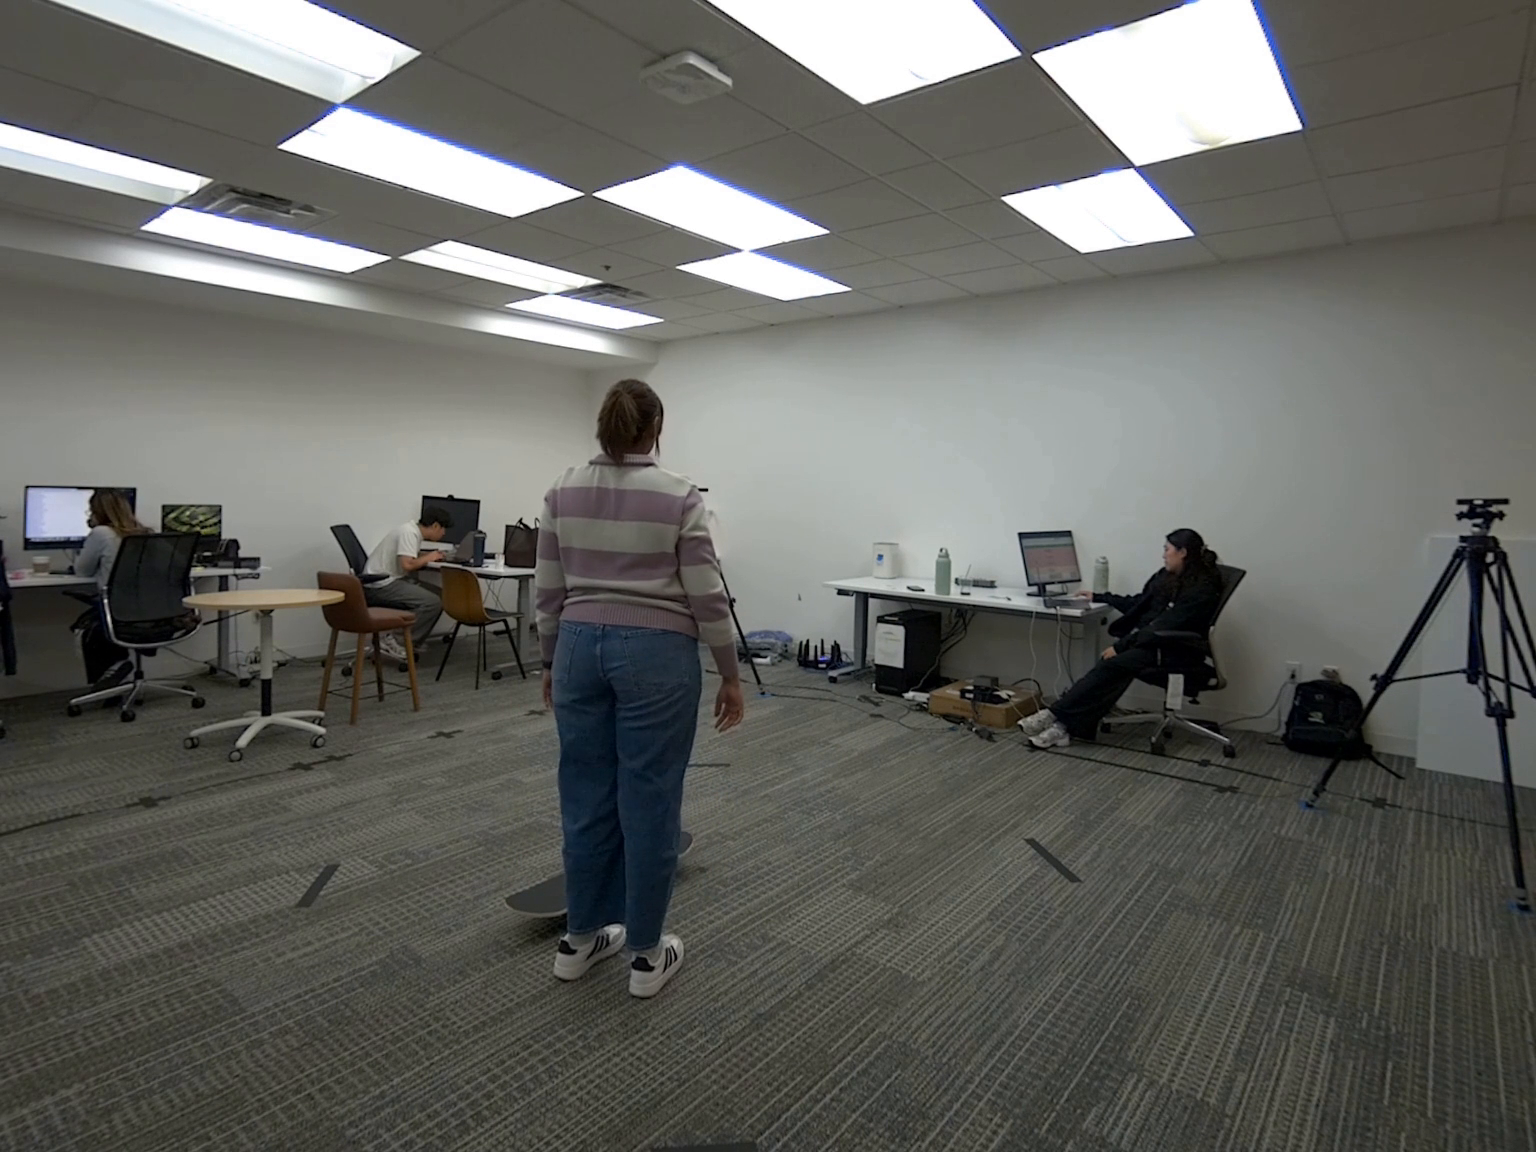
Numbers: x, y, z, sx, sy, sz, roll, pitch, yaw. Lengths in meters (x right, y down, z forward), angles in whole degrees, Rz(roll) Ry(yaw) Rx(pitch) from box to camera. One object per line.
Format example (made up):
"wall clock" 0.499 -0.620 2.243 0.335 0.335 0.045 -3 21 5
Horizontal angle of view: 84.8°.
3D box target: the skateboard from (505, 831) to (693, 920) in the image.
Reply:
"skateboard" -0.551 1.027 2.876 0.200 0.110 0.763 5 7 38
